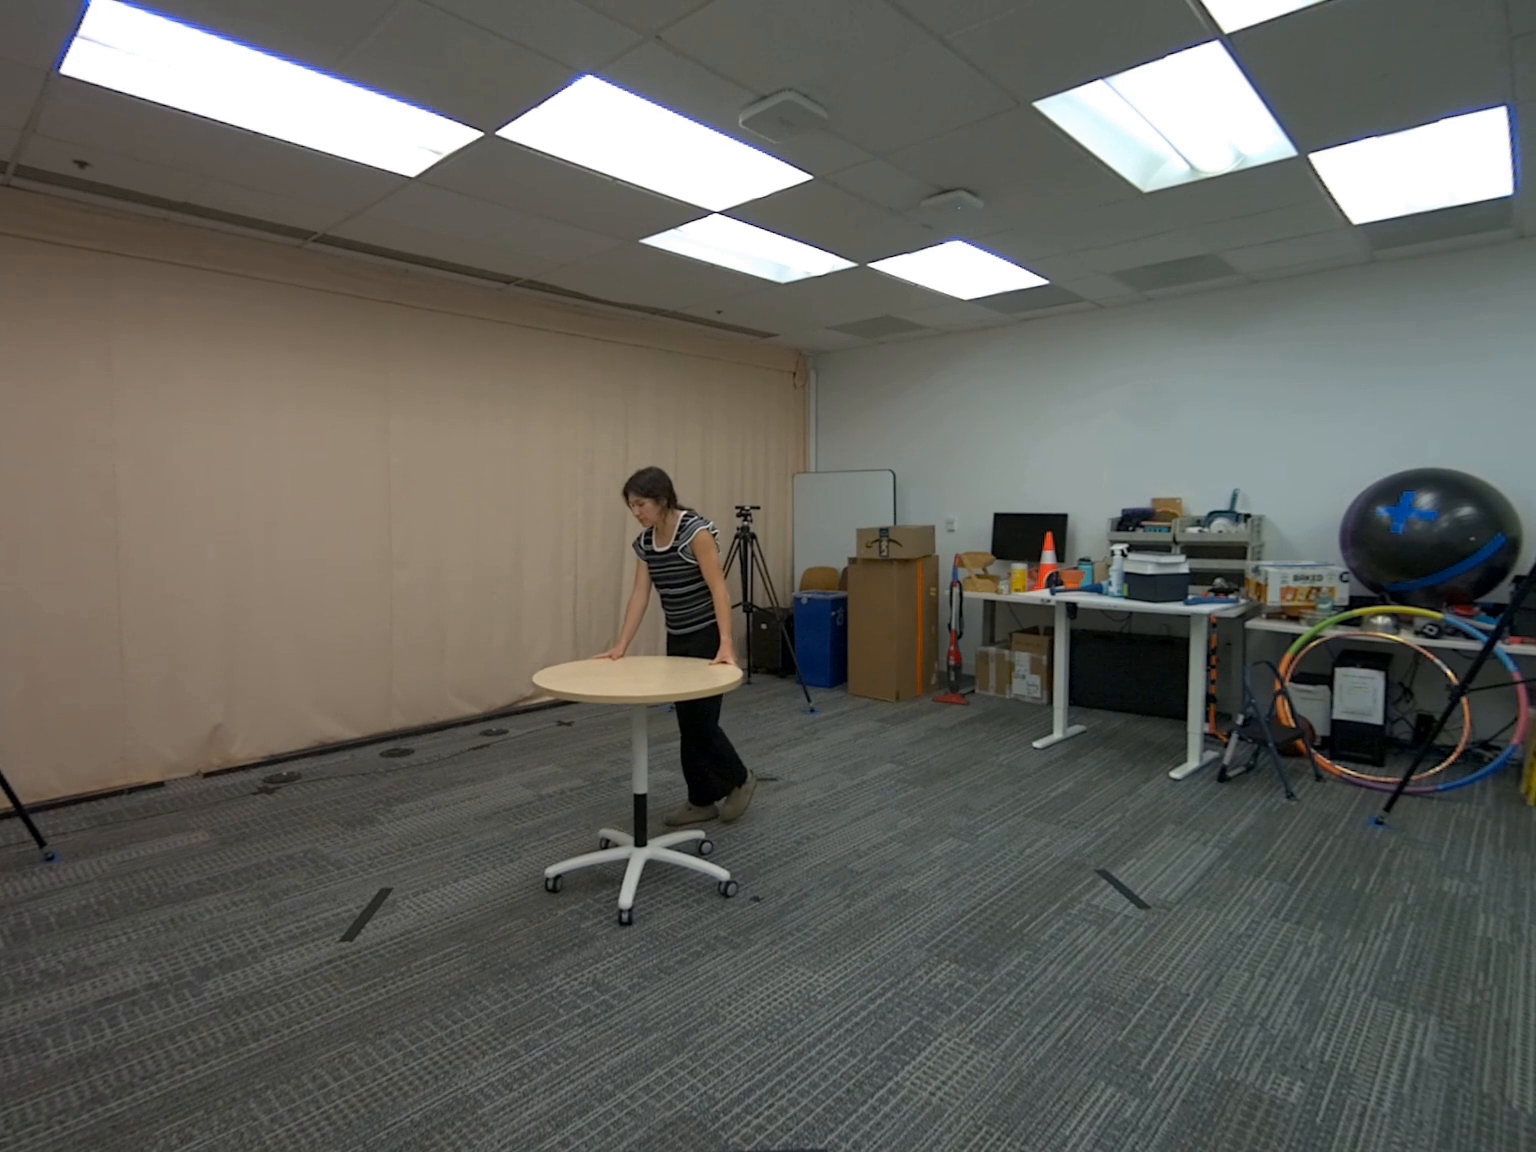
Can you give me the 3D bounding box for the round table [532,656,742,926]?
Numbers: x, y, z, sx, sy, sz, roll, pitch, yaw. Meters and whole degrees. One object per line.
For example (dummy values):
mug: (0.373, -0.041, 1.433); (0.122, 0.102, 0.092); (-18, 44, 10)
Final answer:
round table: (-0.464, 0.748, 3.102); (0.763, 0.792, 0.766); (-1, 3, -2)
